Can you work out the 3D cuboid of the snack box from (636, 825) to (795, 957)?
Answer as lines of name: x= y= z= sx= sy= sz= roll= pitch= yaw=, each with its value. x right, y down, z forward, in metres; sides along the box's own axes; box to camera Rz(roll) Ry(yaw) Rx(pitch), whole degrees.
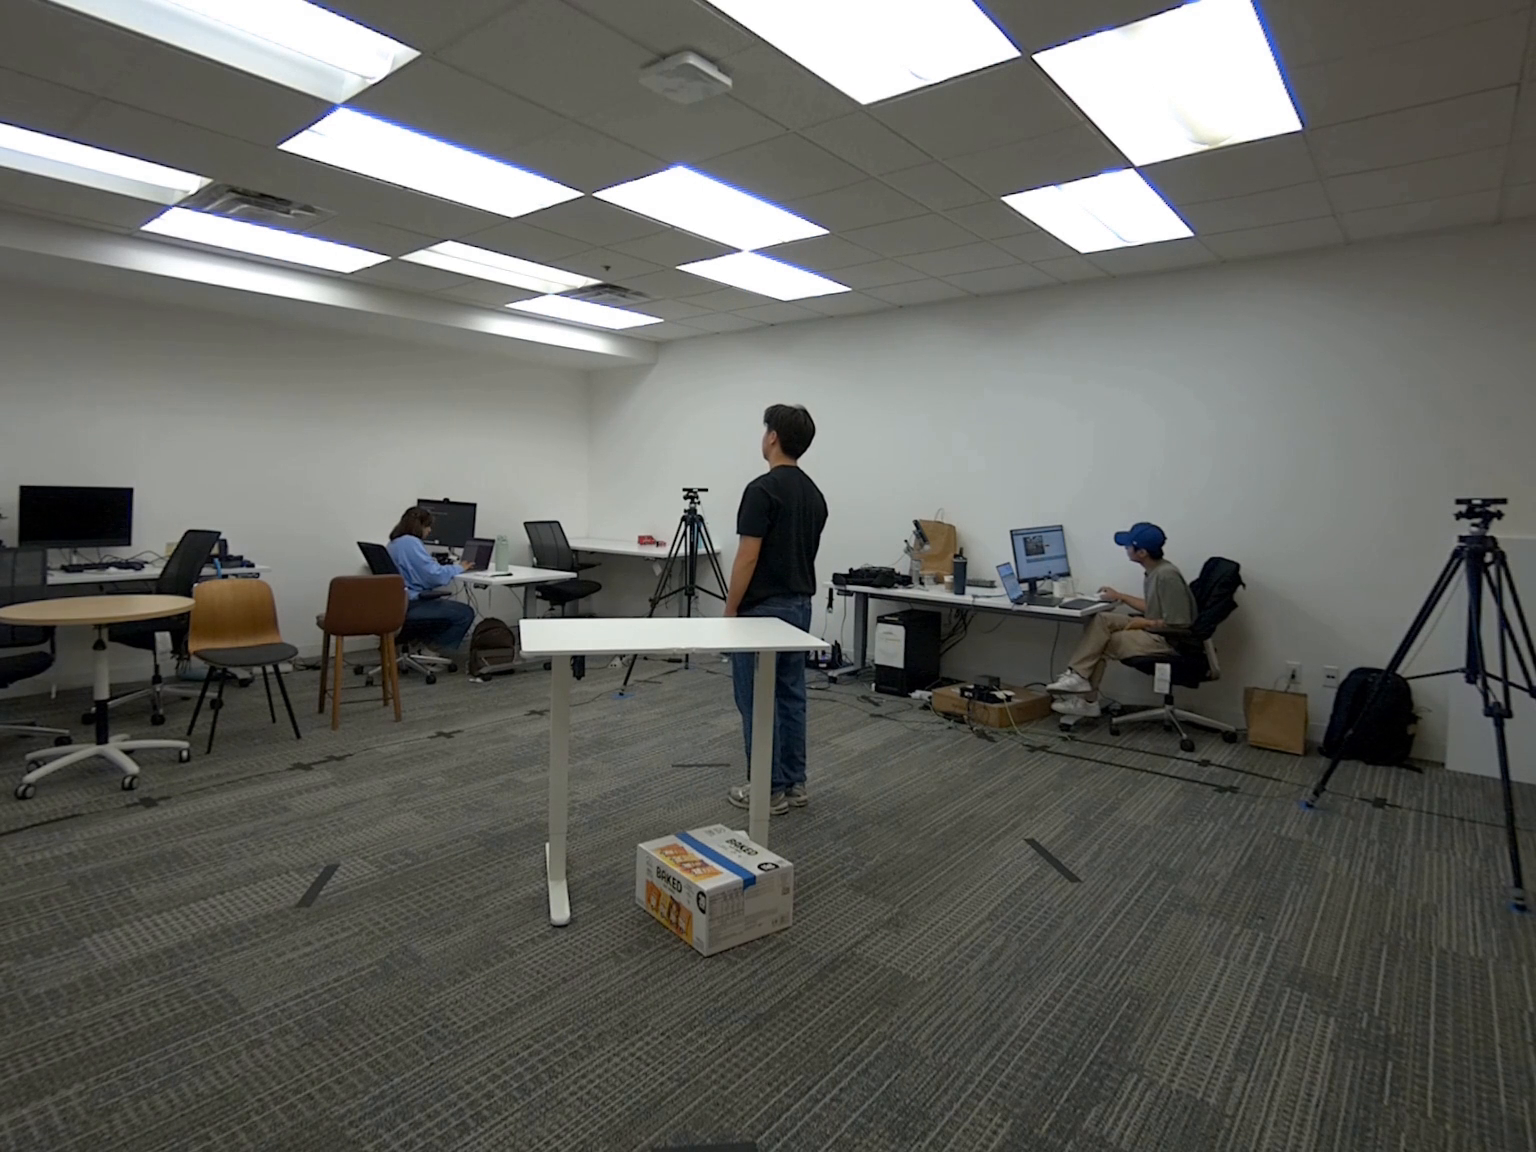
snack box: x=-0.186 y=1.002 z=2.762 sx=0.330 sy=0.205 sz=0.419 roll=-2 pitch=6 yaw=-37
